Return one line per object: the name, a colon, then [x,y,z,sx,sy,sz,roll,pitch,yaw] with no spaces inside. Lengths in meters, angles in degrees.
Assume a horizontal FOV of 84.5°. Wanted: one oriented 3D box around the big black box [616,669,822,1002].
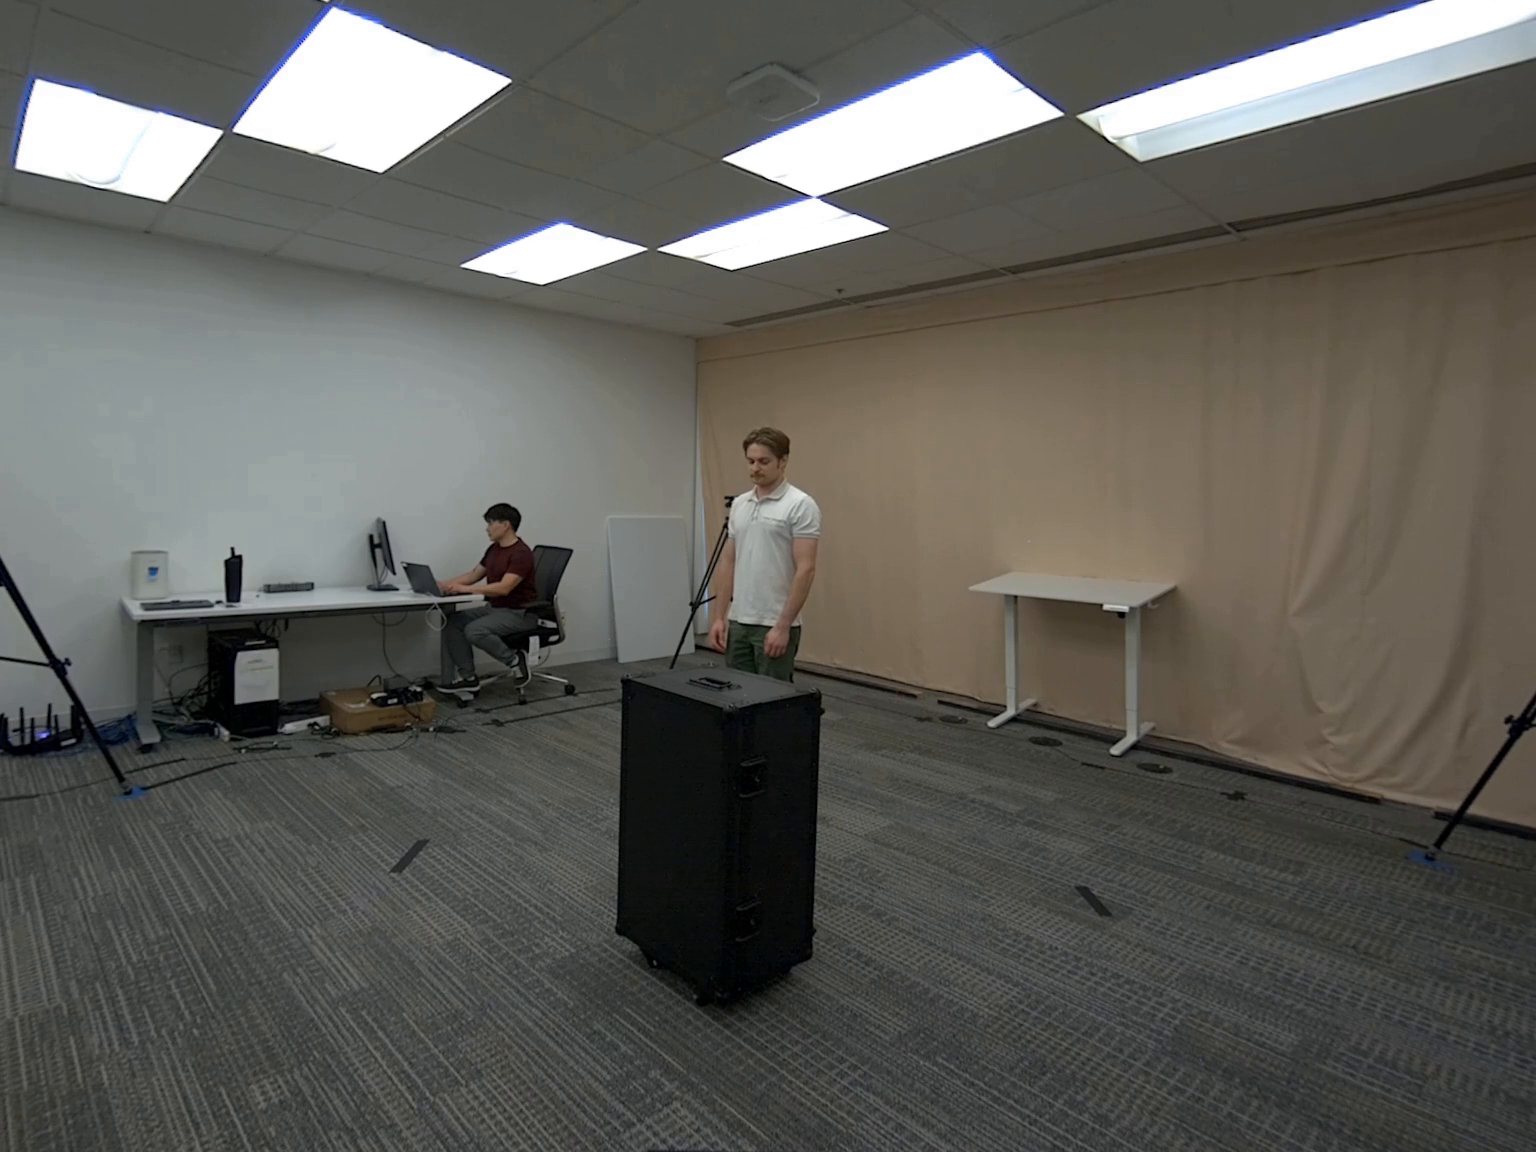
big black box: [-0.162,0.742,2.466,0.376,0.866,0.537,-1,4,-45]
